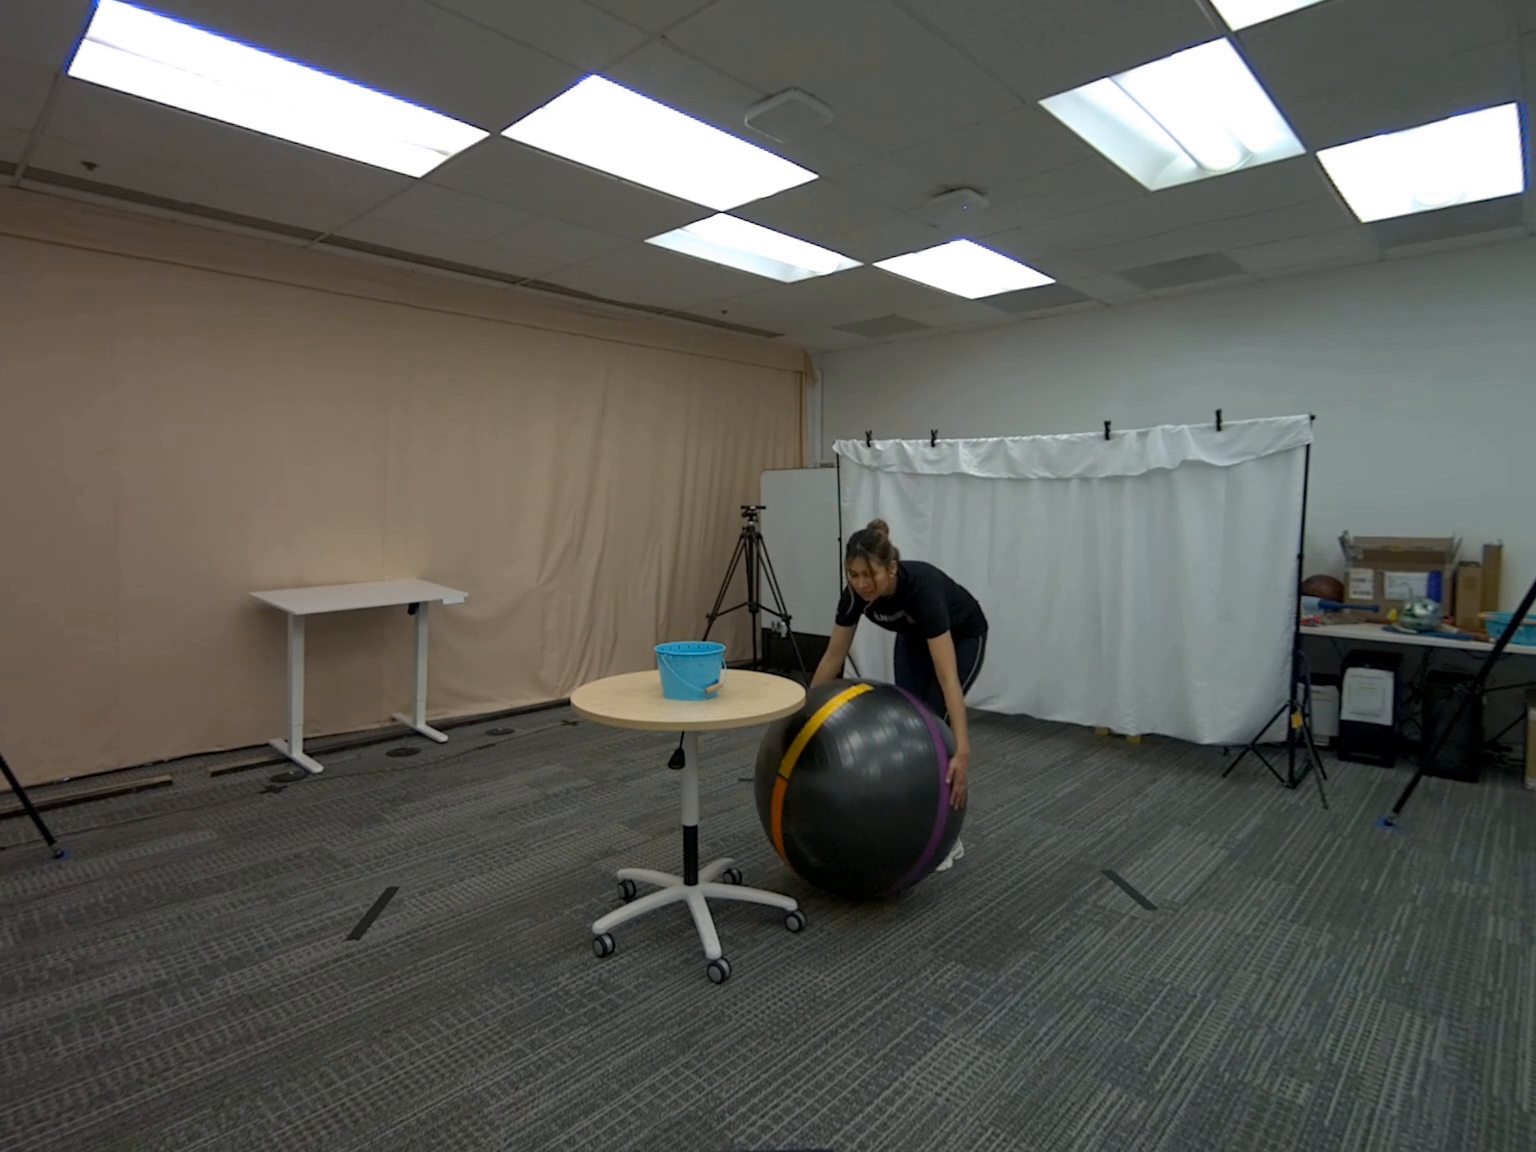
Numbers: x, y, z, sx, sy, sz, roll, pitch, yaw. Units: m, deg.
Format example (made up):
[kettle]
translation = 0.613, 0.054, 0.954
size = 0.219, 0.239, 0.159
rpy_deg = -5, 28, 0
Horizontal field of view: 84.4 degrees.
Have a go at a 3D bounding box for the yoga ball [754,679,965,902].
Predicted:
[yoga ball]
translation = 0.337, 0.750, 3.026
size = 0.757, 0.756, 0.761
rpy_deg = 0, 4, -2
